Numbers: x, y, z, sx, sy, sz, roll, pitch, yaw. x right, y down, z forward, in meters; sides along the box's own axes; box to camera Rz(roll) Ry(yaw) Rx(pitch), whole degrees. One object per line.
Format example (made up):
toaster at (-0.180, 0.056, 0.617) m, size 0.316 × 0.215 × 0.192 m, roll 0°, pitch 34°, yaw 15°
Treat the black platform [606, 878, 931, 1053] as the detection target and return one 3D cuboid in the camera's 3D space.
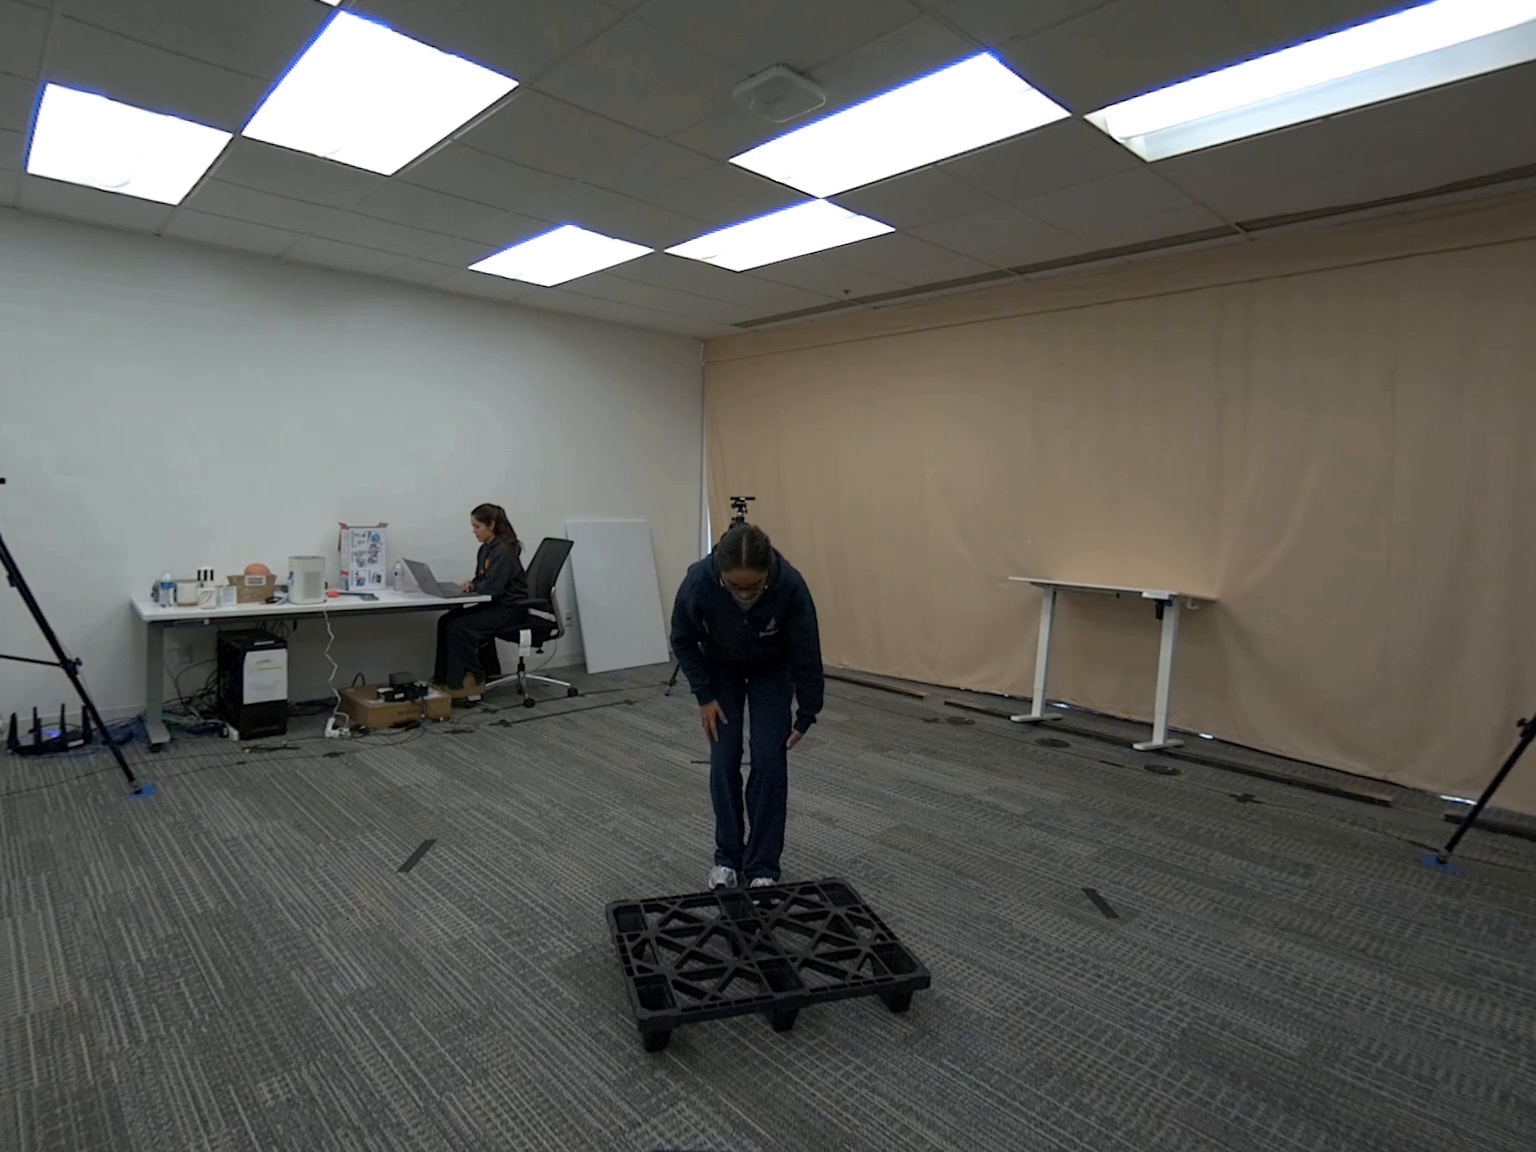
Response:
black platform at (-0.037, 1.105, 2.428) m, size 0.795 × 0.143 × 0.615 m, roll 0°, pitch 5°, yaw -18°
